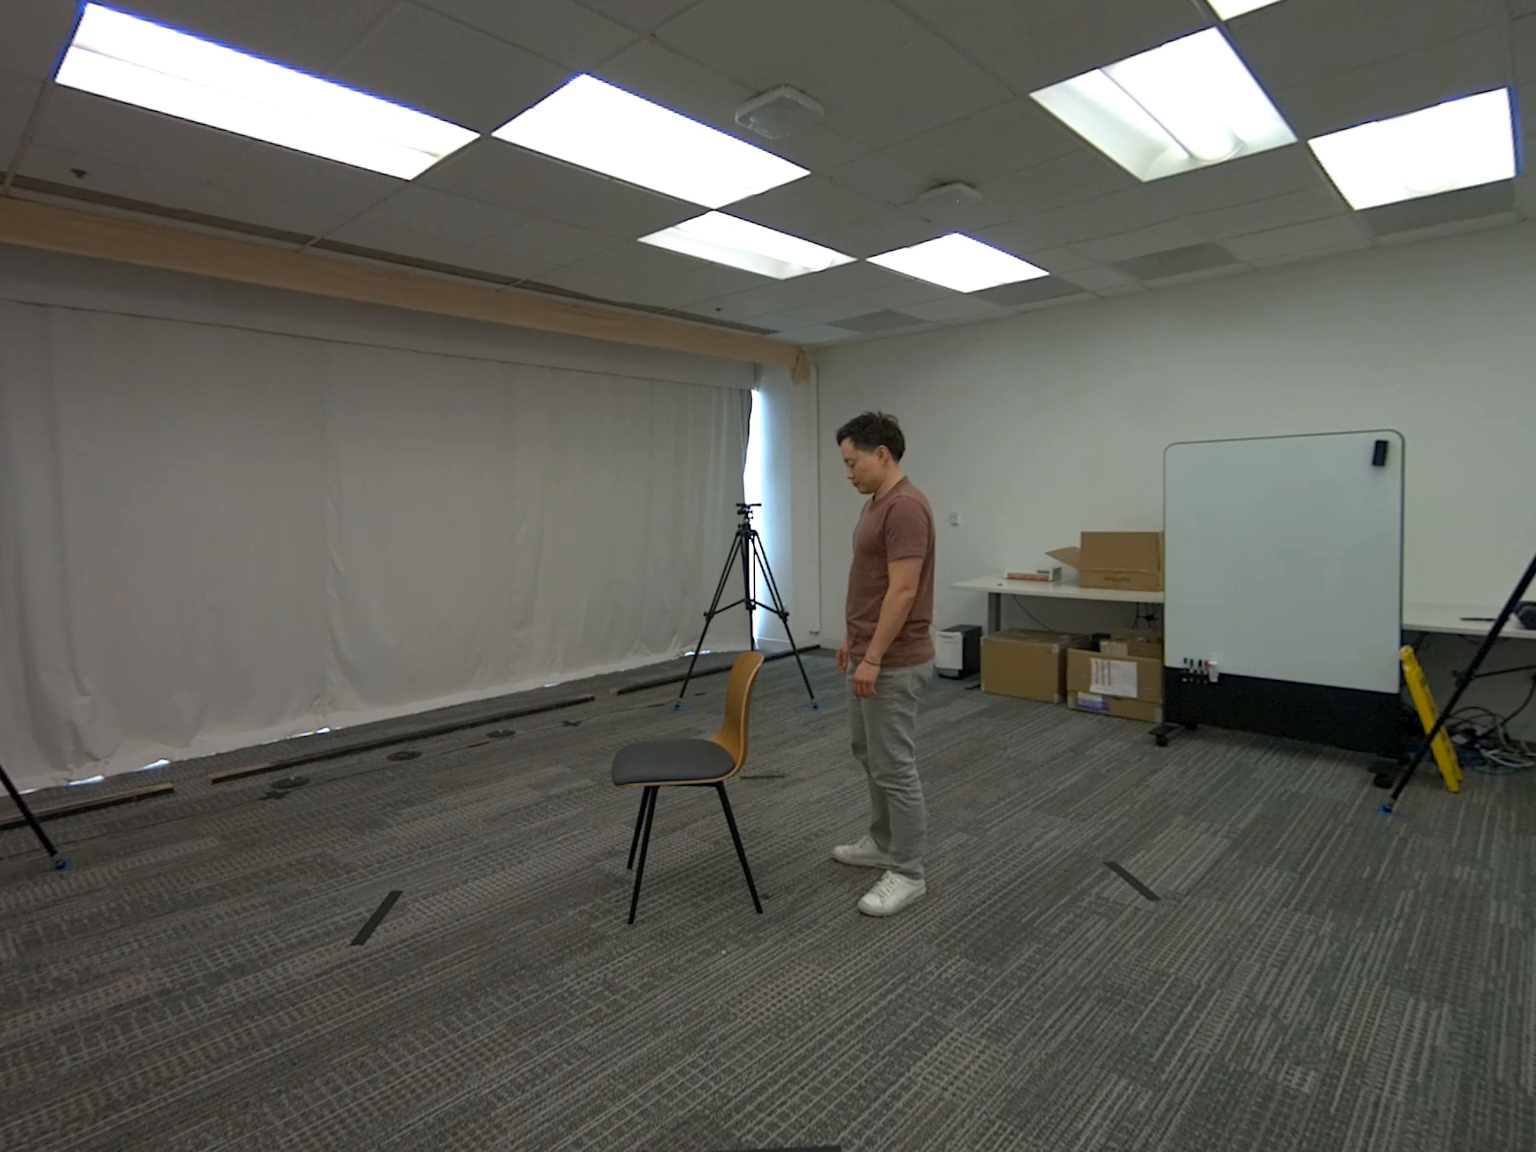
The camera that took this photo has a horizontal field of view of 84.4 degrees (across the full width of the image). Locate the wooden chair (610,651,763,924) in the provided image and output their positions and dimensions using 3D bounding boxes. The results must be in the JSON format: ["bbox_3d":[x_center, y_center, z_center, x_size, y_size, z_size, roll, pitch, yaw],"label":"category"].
[{"bbox_3d":[-0.296,0.713,3.022,0.518,0.875,0.484,2,4,-9],"label":"wooden chair"}]
